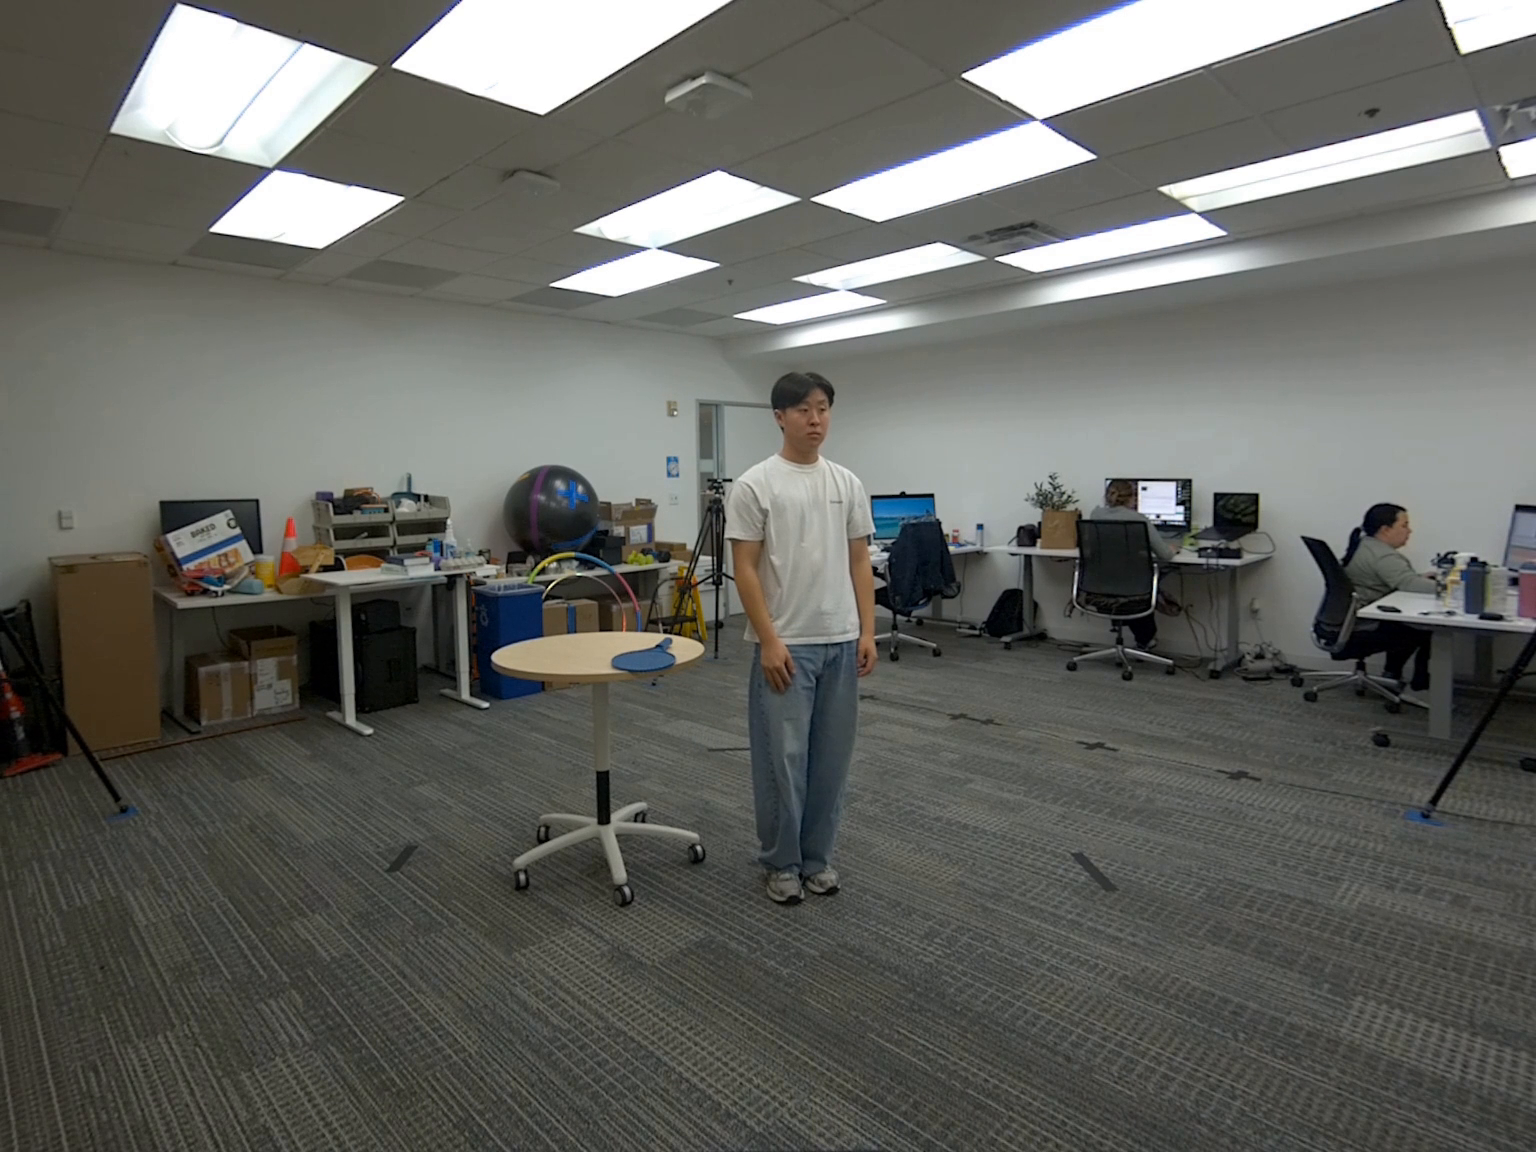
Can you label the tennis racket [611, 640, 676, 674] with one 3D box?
[{"bbox_3d":[-0.399,0.273,2.971,0.216,0.031,0.432,2,8,7],"label":"tennis racket"}]
